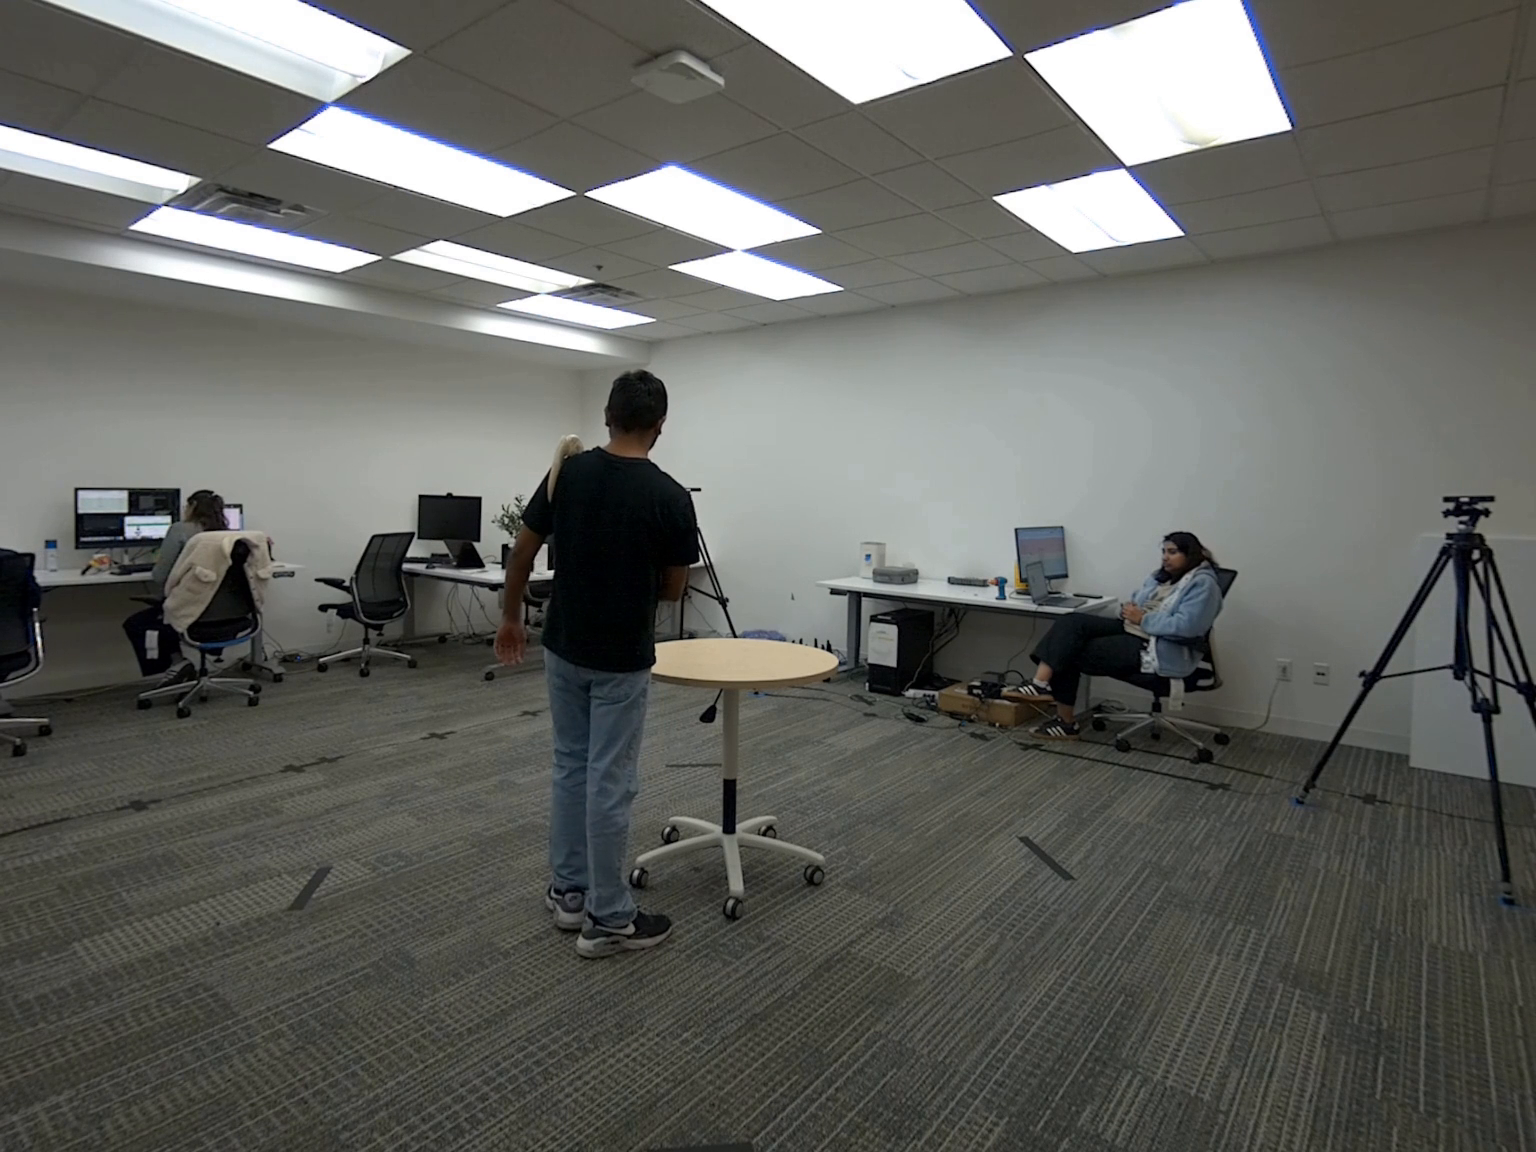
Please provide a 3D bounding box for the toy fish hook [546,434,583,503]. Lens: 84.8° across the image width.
[{"bbox_3d":[-0.646,-0.178,2.602,0.049,0.502,0.222,9,10,13],"label":"toy fish hook"}]
